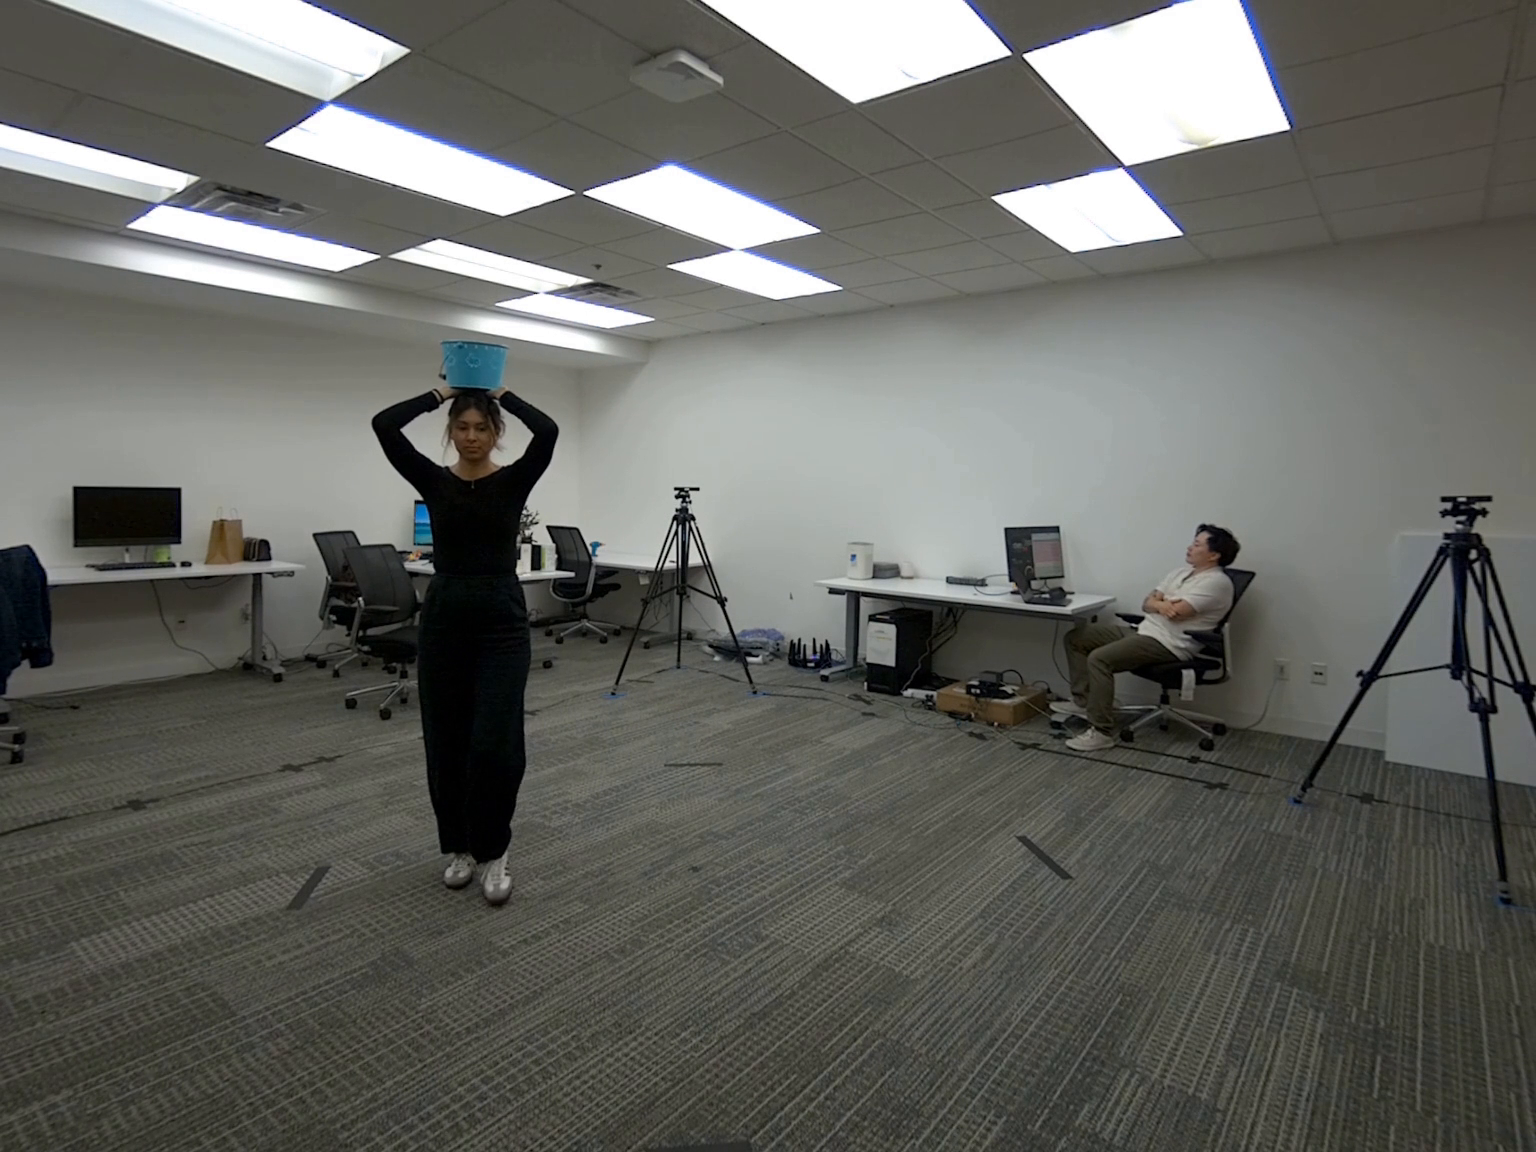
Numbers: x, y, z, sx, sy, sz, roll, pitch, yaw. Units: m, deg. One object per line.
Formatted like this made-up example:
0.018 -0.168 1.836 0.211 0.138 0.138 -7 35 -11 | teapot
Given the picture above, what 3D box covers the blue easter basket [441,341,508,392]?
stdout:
-1.047 -0.729 2.961 0.243 0.155 0.246 1 8 -2 | blue easter basket
